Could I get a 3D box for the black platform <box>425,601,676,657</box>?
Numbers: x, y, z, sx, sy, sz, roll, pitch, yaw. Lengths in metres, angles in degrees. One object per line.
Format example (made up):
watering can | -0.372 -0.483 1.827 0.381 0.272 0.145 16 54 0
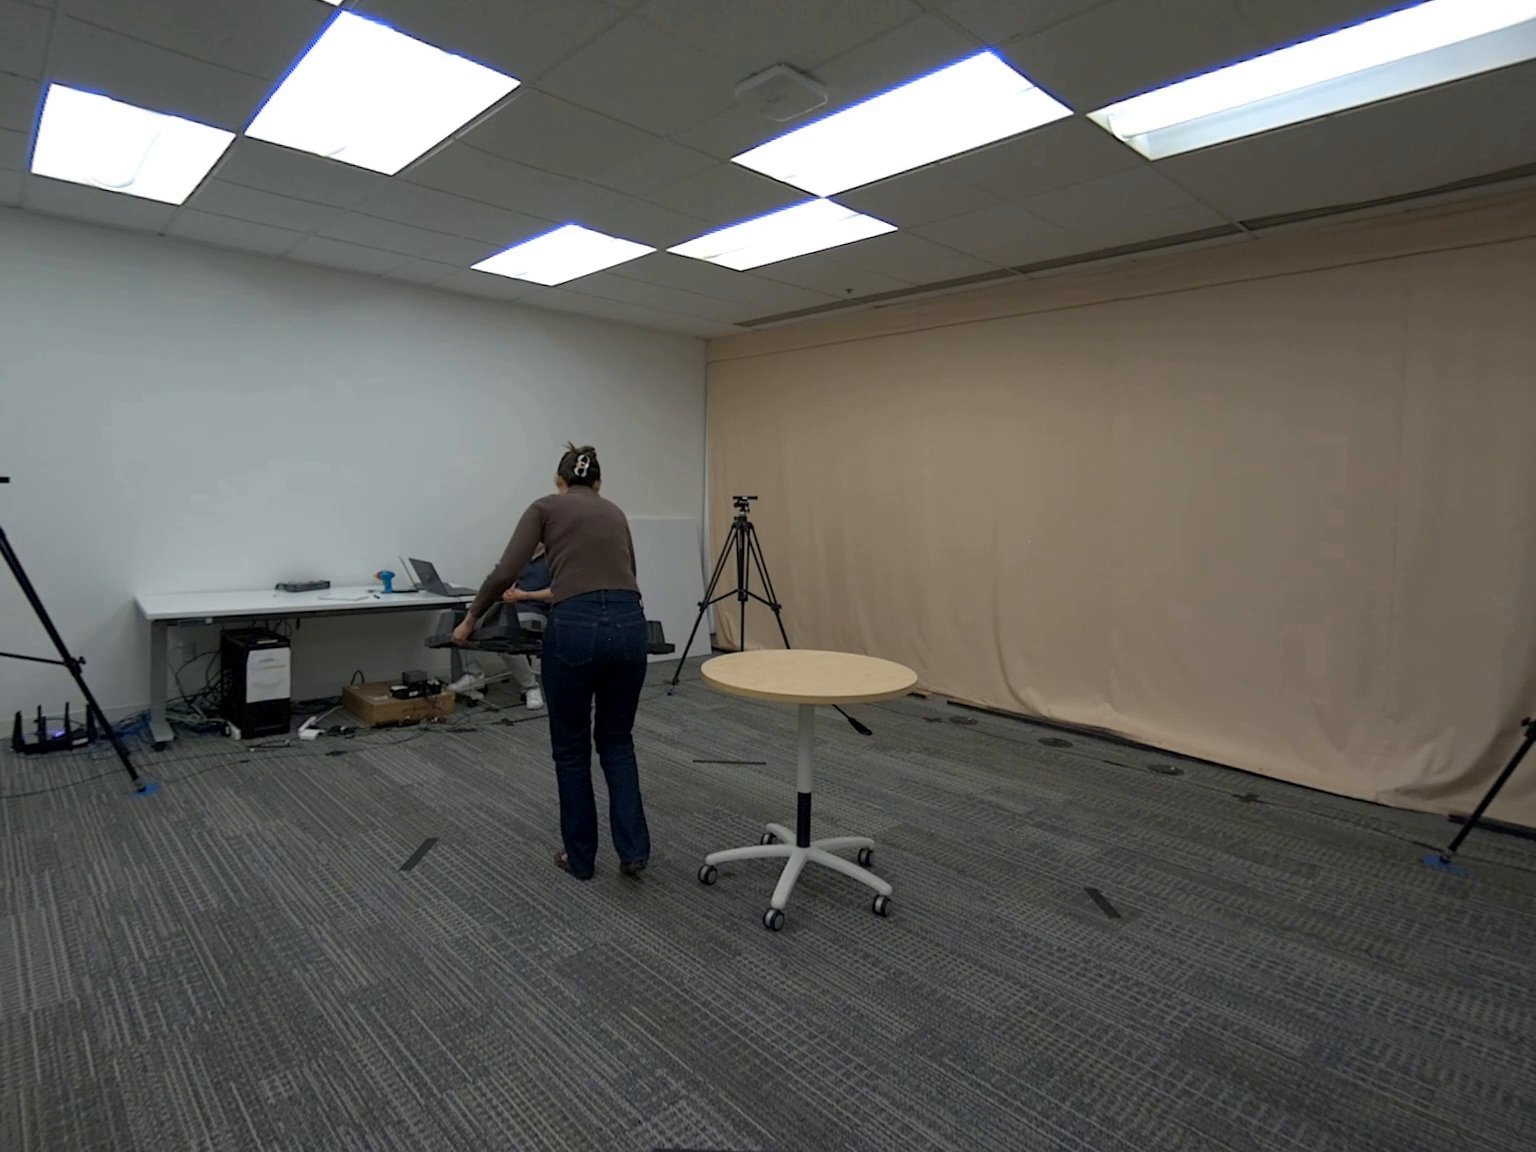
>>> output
black platform | -0.869 0.236 3.356 0.616 0.144 0.783 -10 -15 43
